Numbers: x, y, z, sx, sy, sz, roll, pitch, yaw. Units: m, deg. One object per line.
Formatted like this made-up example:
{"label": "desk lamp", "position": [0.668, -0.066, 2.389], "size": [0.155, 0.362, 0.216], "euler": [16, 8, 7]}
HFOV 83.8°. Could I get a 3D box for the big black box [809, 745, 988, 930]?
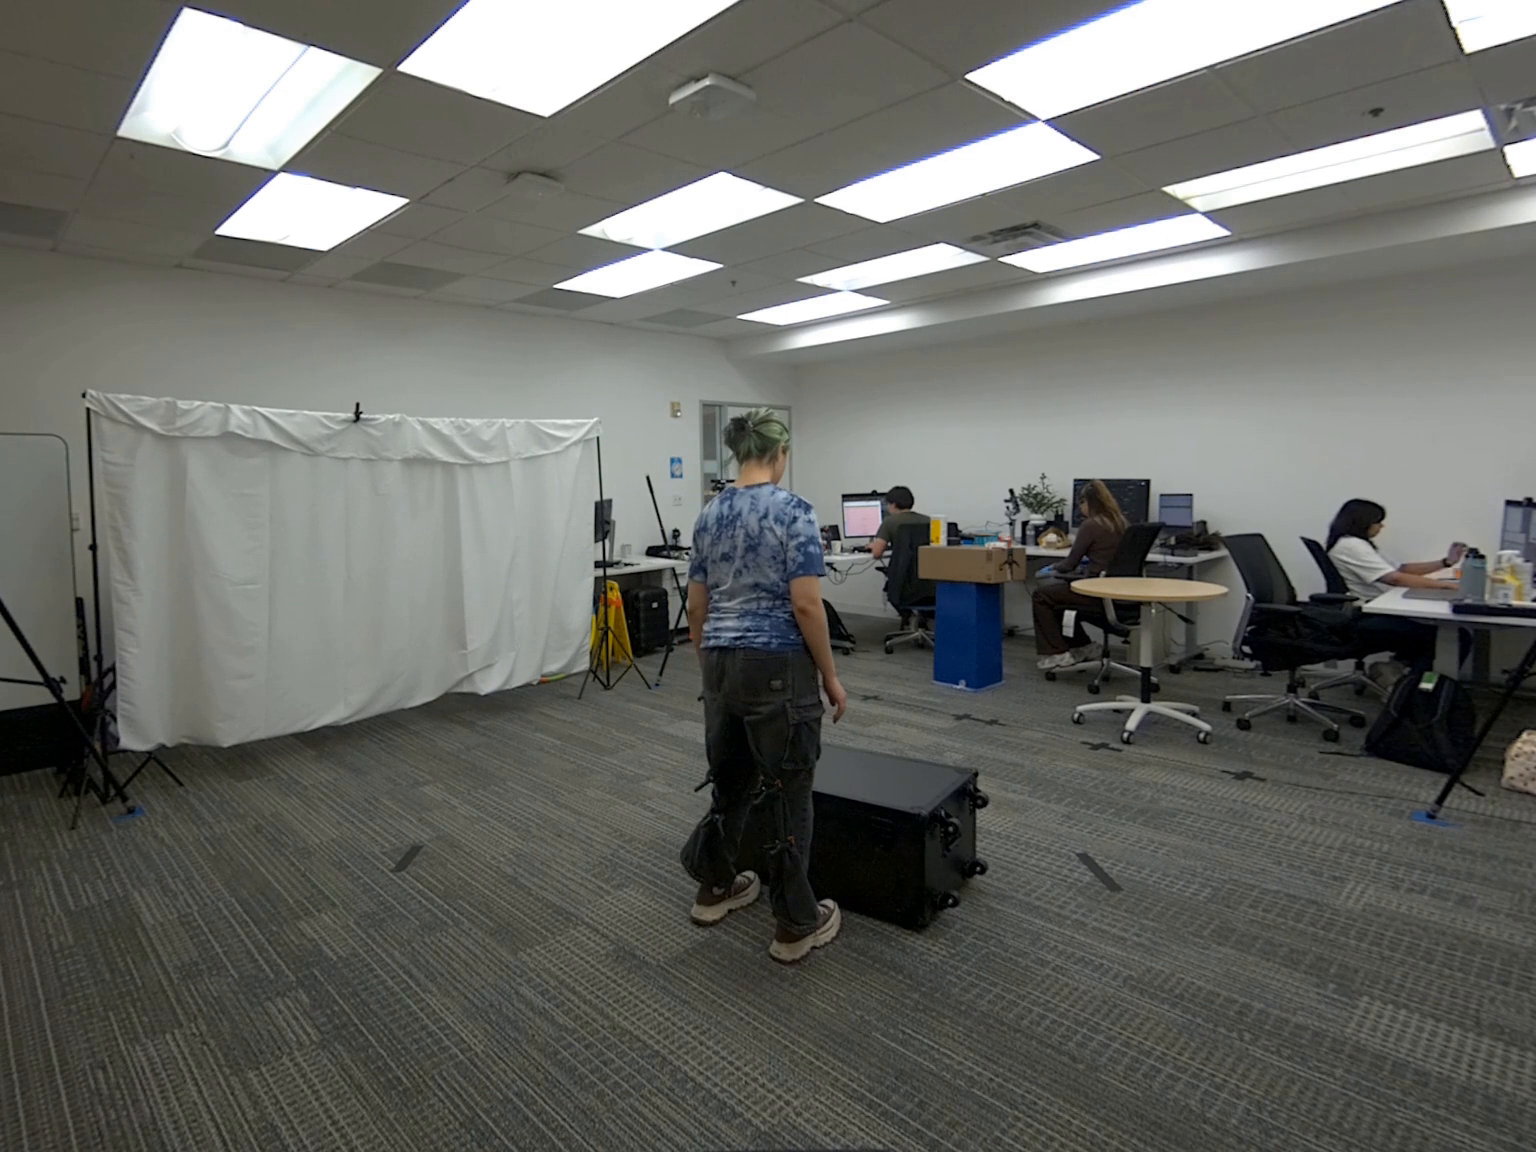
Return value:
{"label": "big black box", "position": [0.302, 0.864, 2.985], "size": [0.885, 0.395, 0.509], "euler": [2, 6, 33]}
